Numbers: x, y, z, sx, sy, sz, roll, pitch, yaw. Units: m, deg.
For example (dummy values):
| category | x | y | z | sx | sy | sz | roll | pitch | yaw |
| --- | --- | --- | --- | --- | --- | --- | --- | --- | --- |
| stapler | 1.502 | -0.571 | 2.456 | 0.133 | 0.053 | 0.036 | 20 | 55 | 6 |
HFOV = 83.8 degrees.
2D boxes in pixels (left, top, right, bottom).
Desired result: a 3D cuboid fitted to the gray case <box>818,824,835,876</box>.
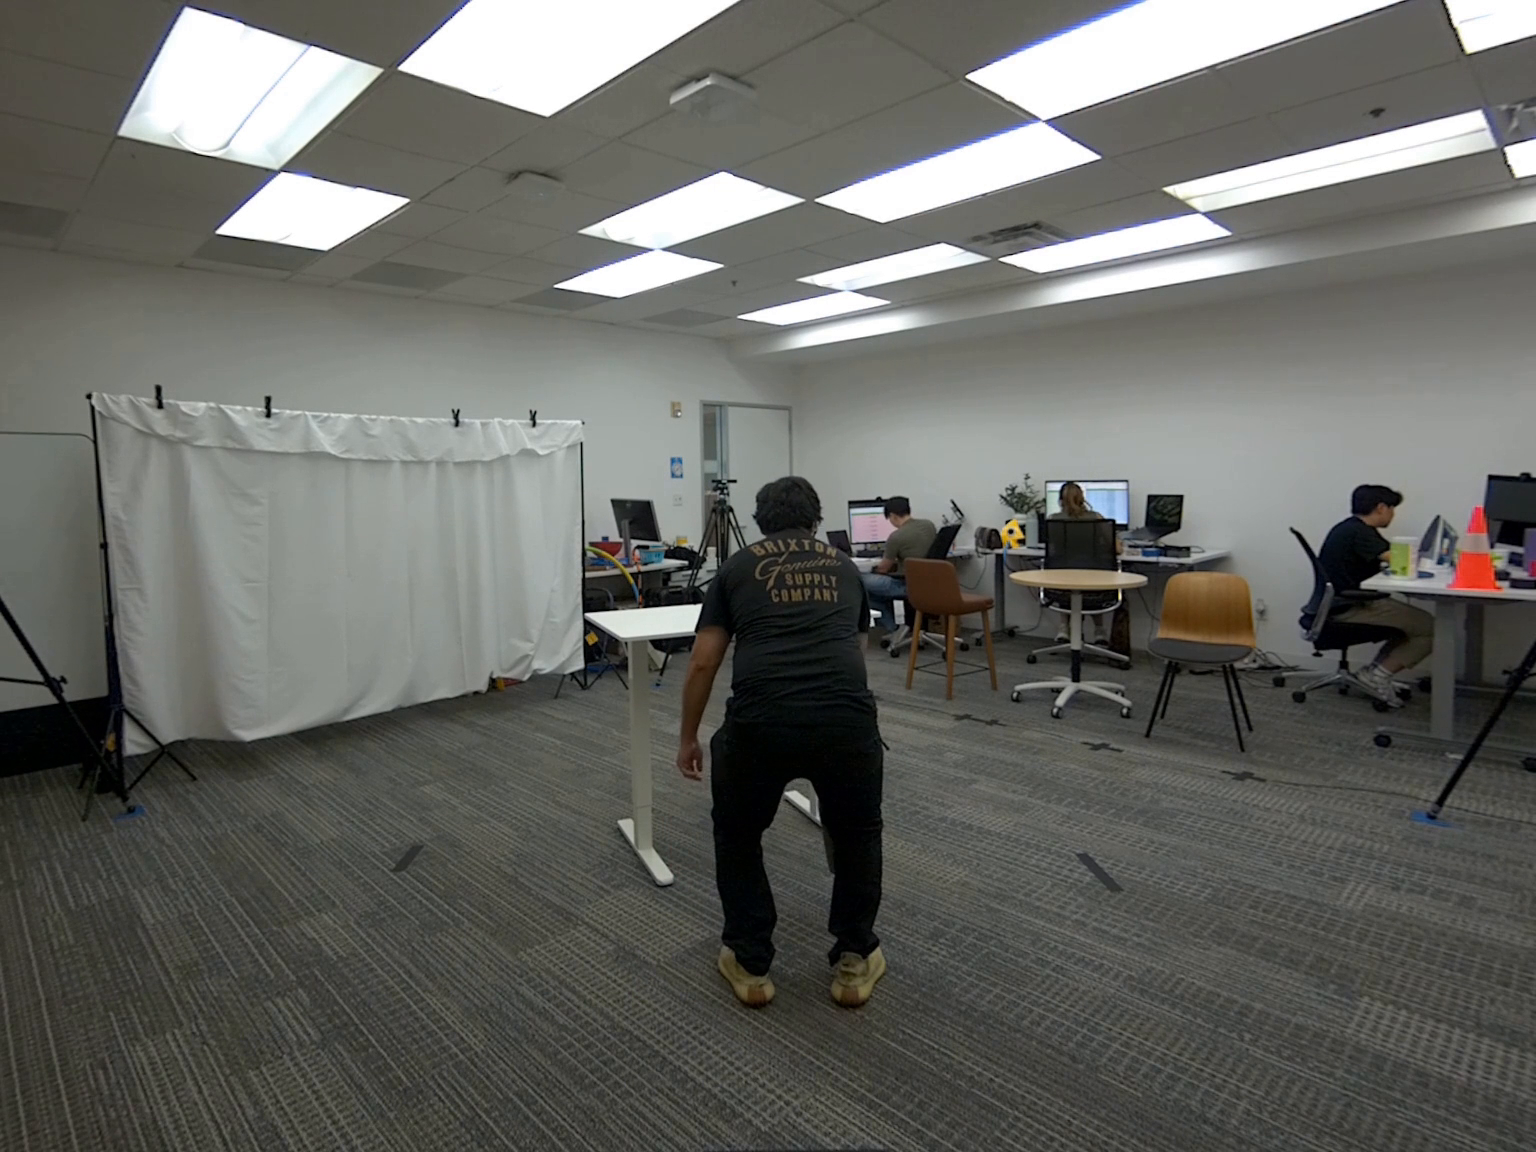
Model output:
| category | x | y | z | sx | sy | sz | roll | pitch | yaw |
| --- | --- | --- | --- | --- | --- | --- | --- | --- | --- |
| gray case | 0.235 | 0.771 | 2.704 | 0.105 | 0.258 | 0.257 | -6 | 8 | 6 |
